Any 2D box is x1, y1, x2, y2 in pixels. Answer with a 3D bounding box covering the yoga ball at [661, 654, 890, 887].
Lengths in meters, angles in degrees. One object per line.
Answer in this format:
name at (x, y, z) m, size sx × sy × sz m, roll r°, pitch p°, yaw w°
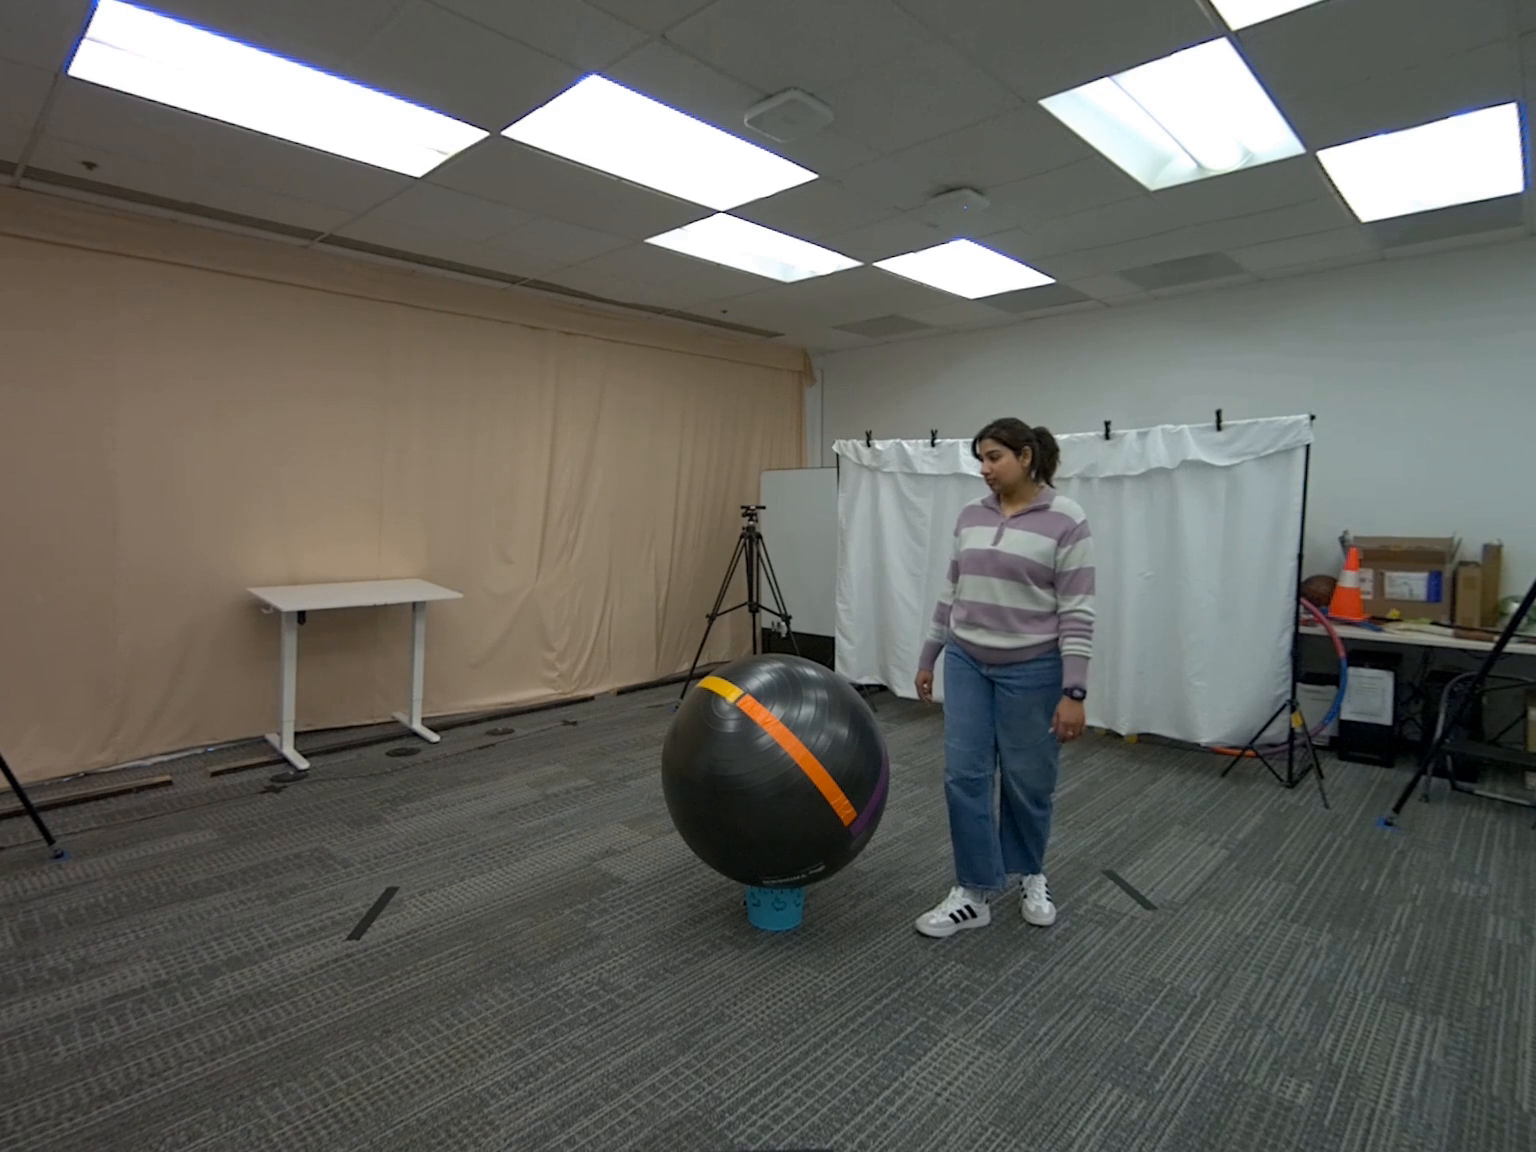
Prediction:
yoga ball at (0.022, 0.649, 2.829) m, size 0.757 × 0.756 × 0.760 m, roll 0°, pitch 4°, yaw -2°
